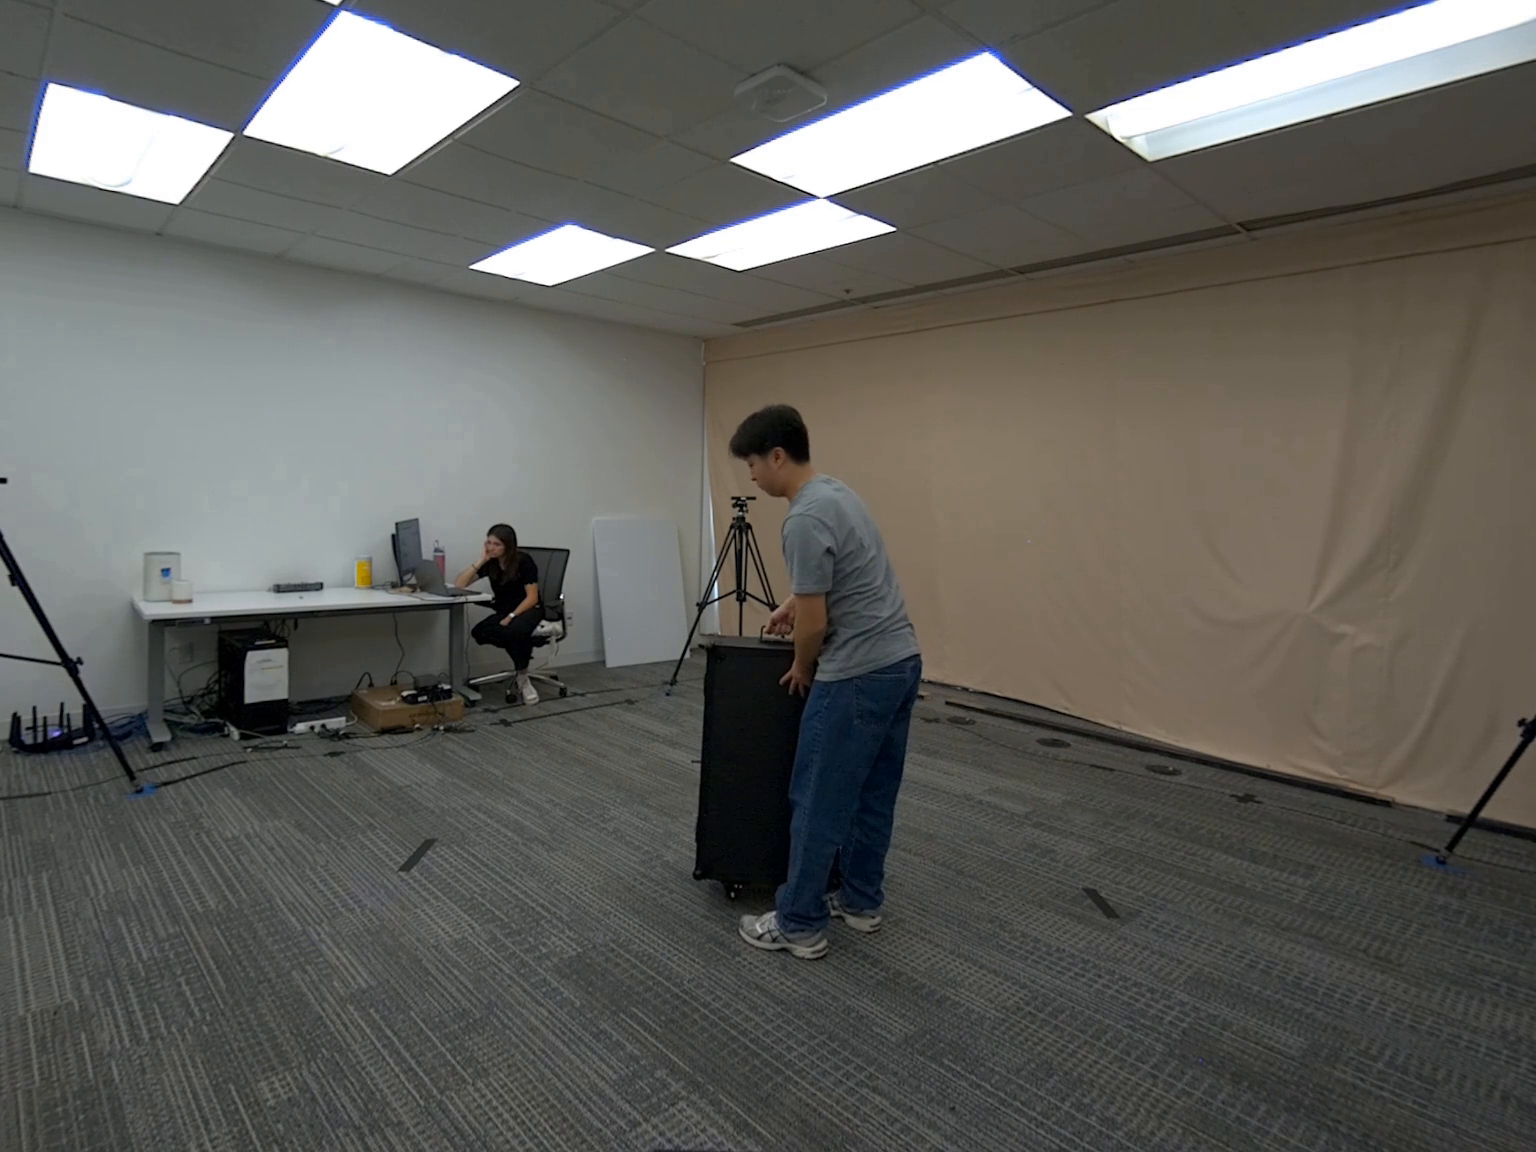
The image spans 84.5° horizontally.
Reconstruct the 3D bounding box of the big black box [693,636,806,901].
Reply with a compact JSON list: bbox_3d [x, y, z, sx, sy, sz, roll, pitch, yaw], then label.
[{"bbox_3d":[0.009,0.598,2.977,0.522,0.861,0.396,3,0,1],"label":"big black box"}]
